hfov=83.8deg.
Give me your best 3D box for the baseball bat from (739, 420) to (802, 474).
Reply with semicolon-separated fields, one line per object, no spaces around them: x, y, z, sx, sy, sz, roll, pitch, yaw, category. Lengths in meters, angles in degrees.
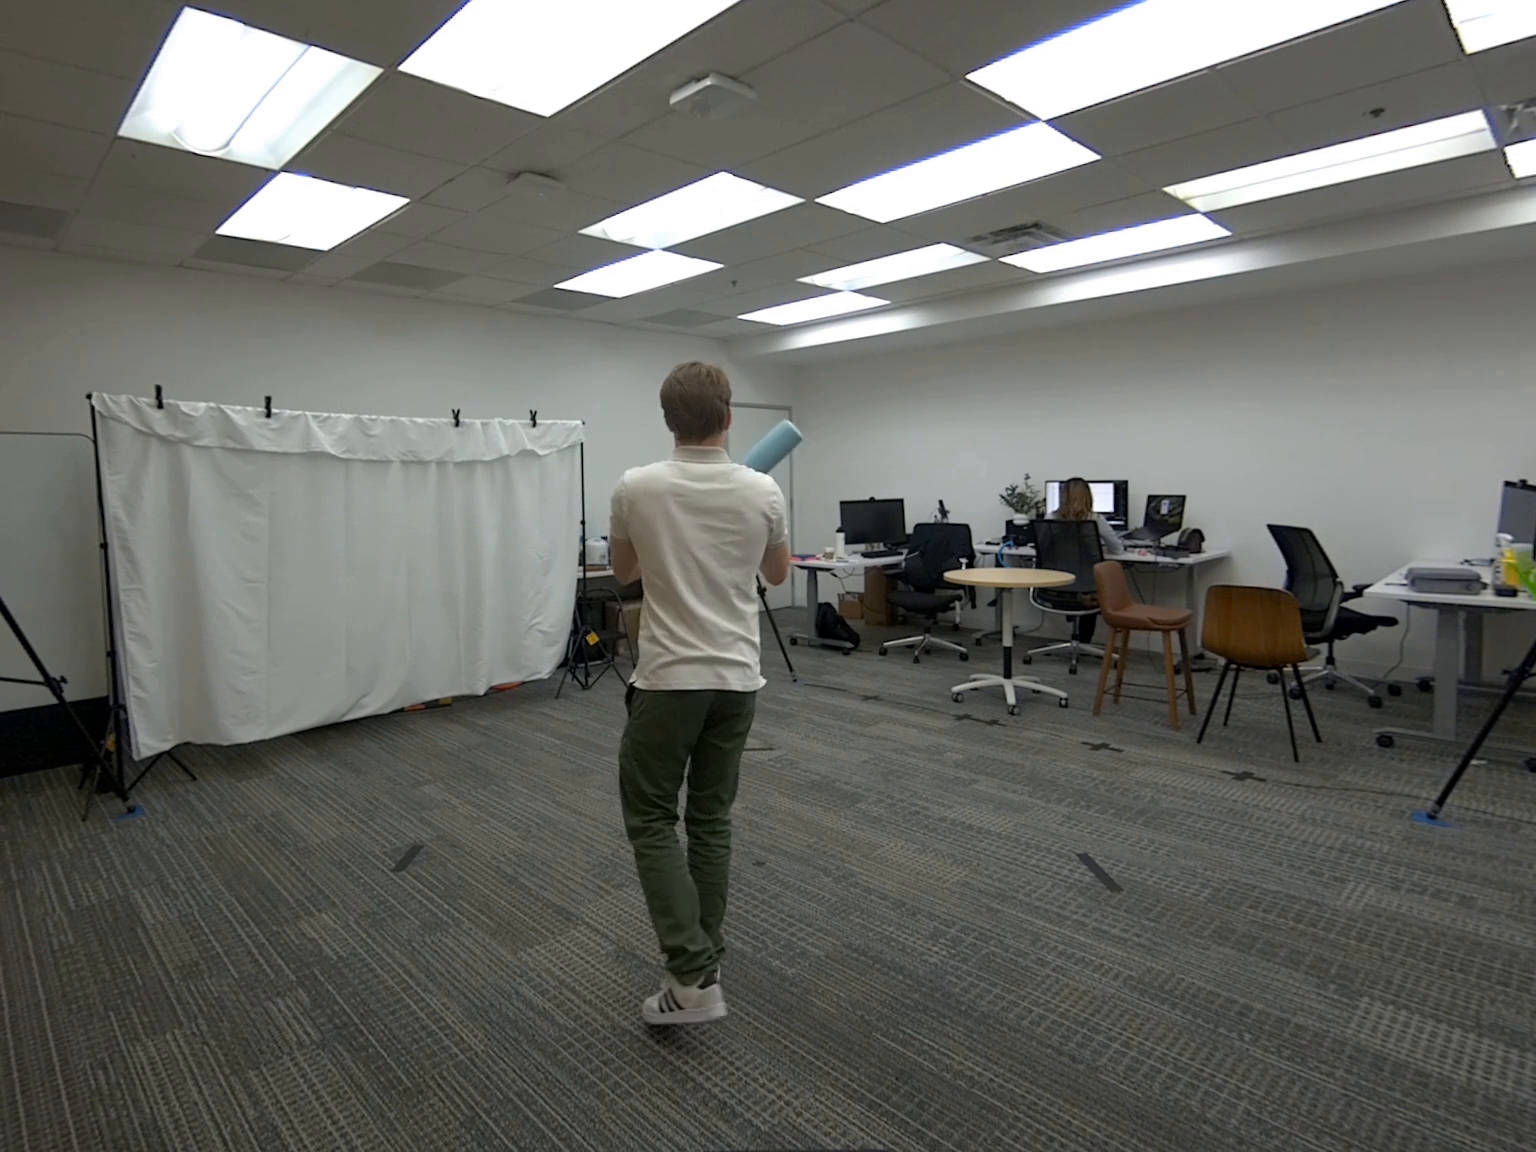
-0.122;-0.271;2.664;0.543;0.089;0.089;-42;-1;9;baseball bat
